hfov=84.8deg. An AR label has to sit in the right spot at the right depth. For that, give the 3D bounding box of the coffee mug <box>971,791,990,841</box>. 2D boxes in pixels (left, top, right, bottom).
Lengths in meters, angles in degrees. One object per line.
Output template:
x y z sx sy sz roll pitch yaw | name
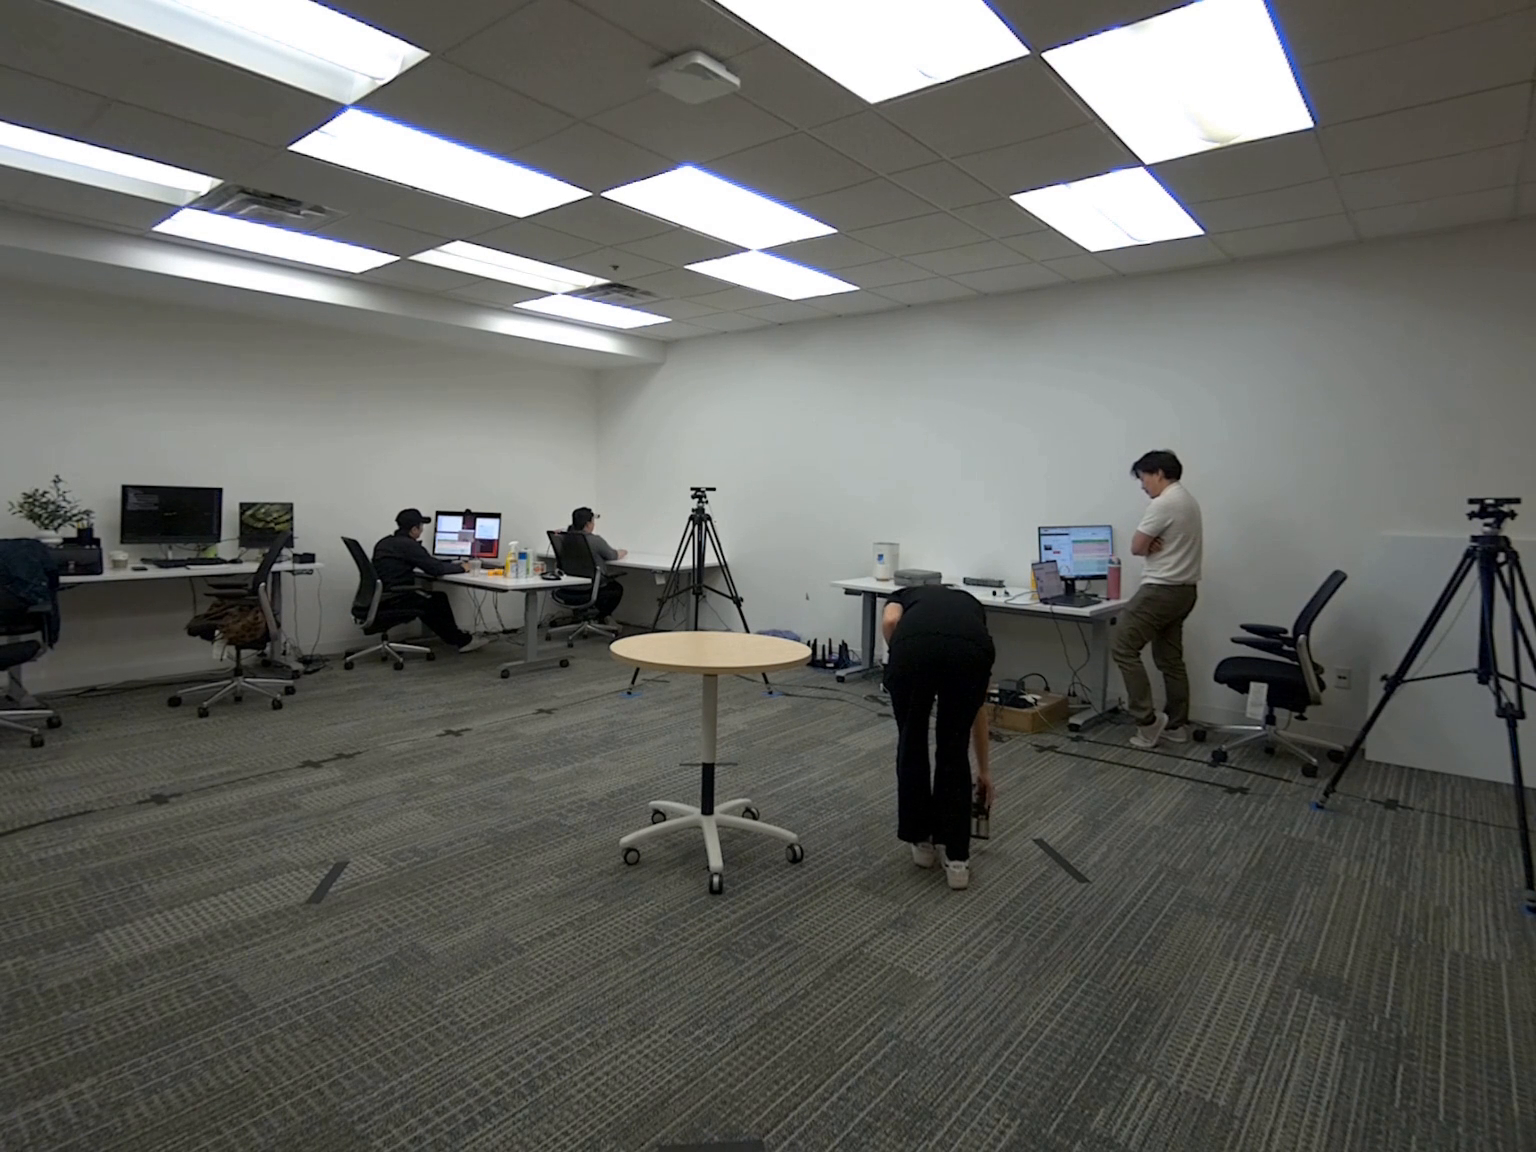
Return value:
0.820 0.919 3.334 0.090 0.205 0.117 -1 -18 39 | coffee mug
